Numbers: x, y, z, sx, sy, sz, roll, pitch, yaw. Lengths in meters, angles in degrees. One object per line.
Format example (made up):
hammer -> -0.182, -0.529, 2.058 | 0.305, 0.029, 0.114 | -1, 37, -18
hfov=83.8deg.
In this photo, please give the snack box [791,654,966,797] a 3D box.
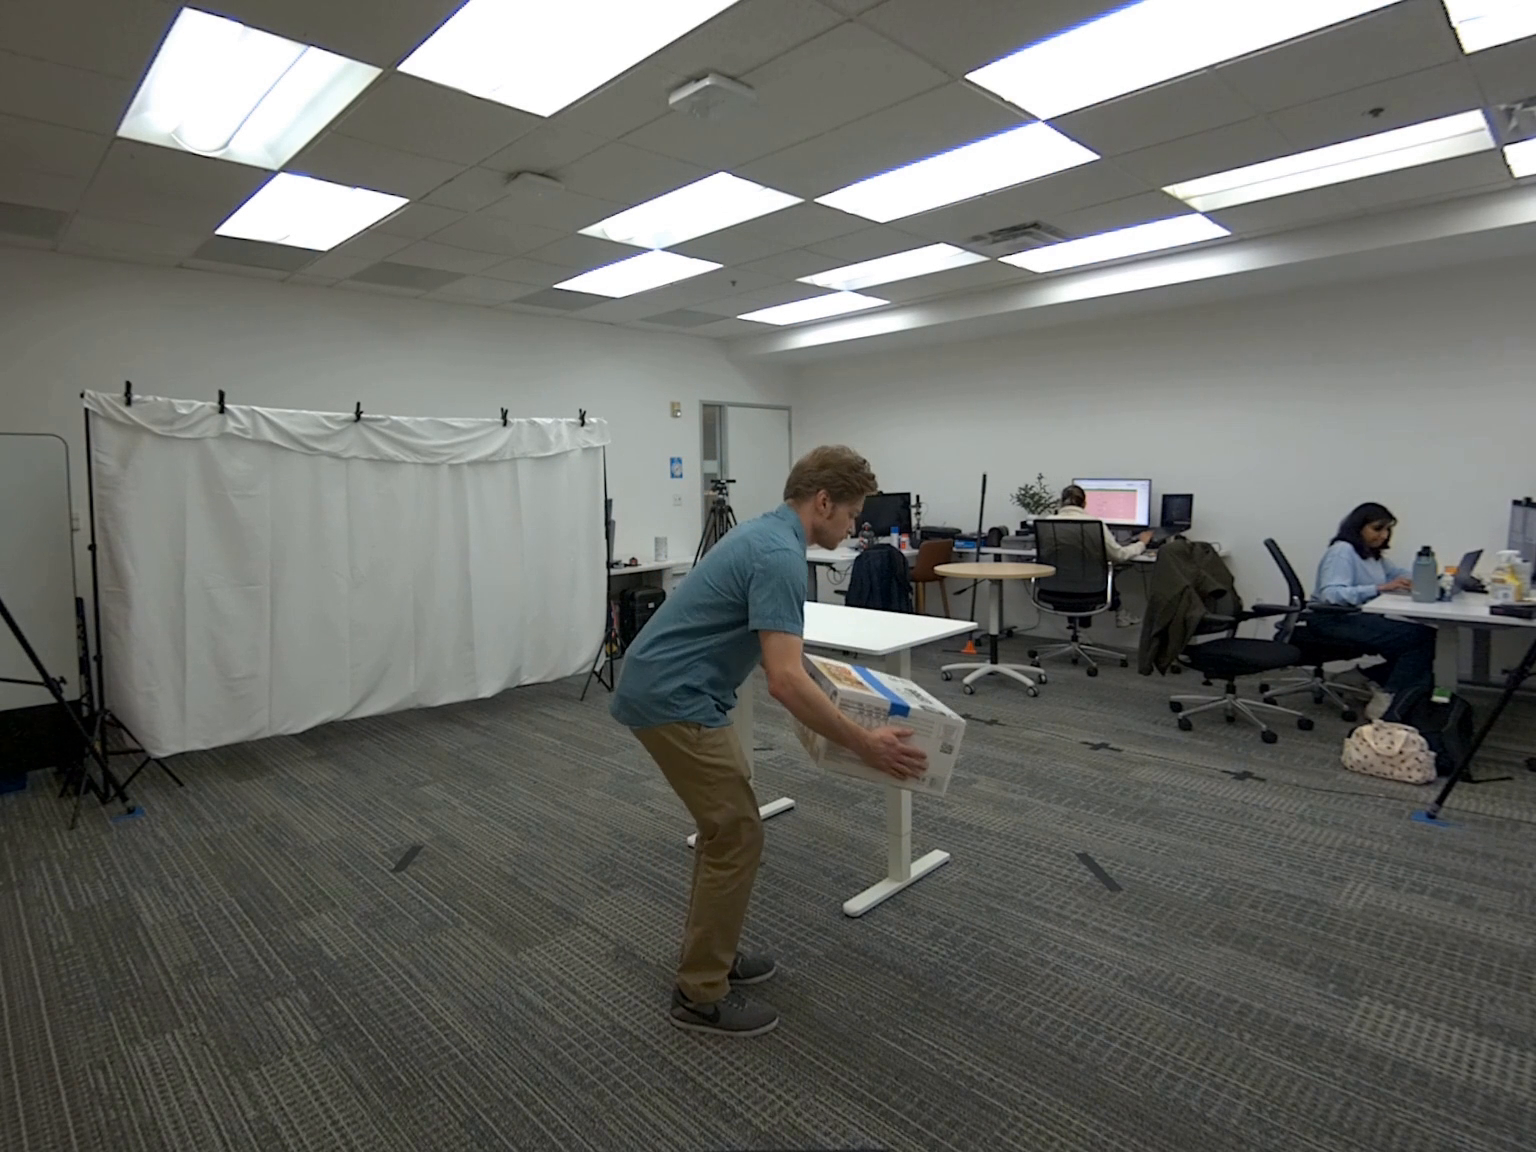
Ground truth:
snack box -> 0.267, 0.394, 2.283 | 0.337, 0.205, 0.410 | 15, 4, -10
